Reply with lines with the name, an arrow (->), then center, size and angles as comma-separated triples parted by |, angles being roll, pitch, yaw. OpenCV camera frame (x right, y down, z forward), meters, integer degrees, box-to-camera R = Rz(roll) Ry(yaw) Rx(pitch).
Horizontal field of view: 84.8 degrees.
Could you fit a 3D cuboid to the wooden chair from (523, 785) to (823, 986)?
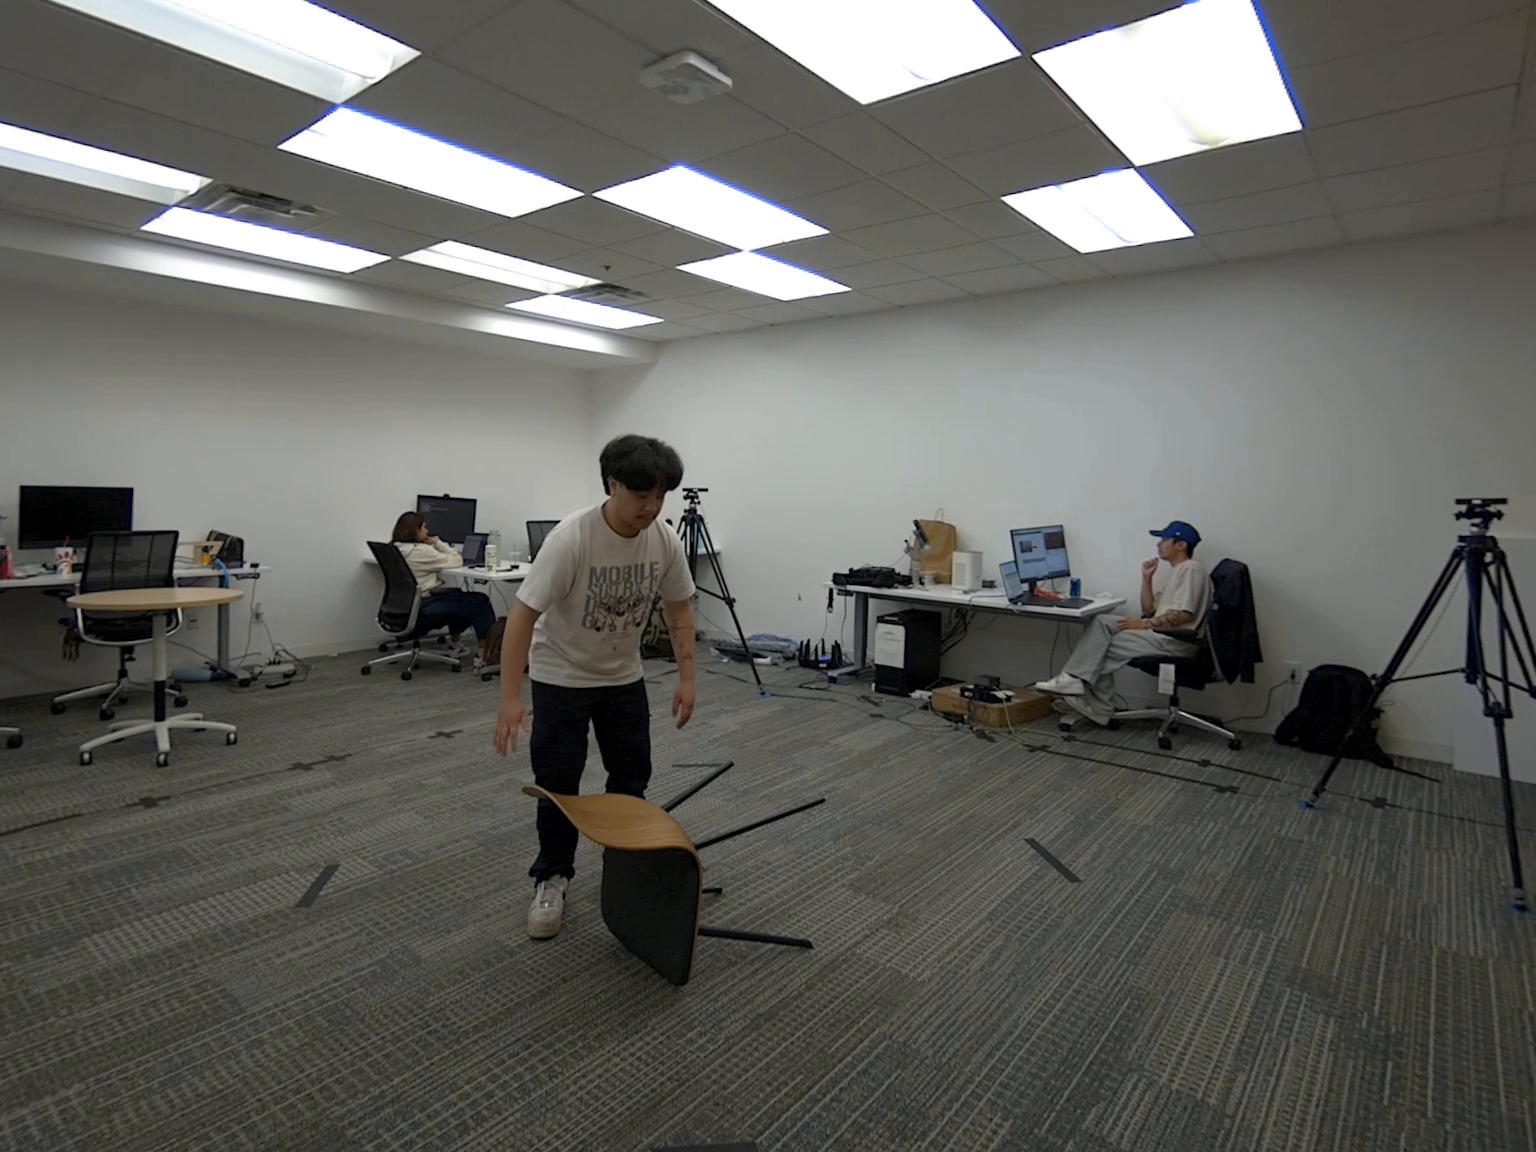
wooden chair -> -0.317, 0.872, 2.494 | 0.846, 0.524, 0.494 | 9, -1, -41
